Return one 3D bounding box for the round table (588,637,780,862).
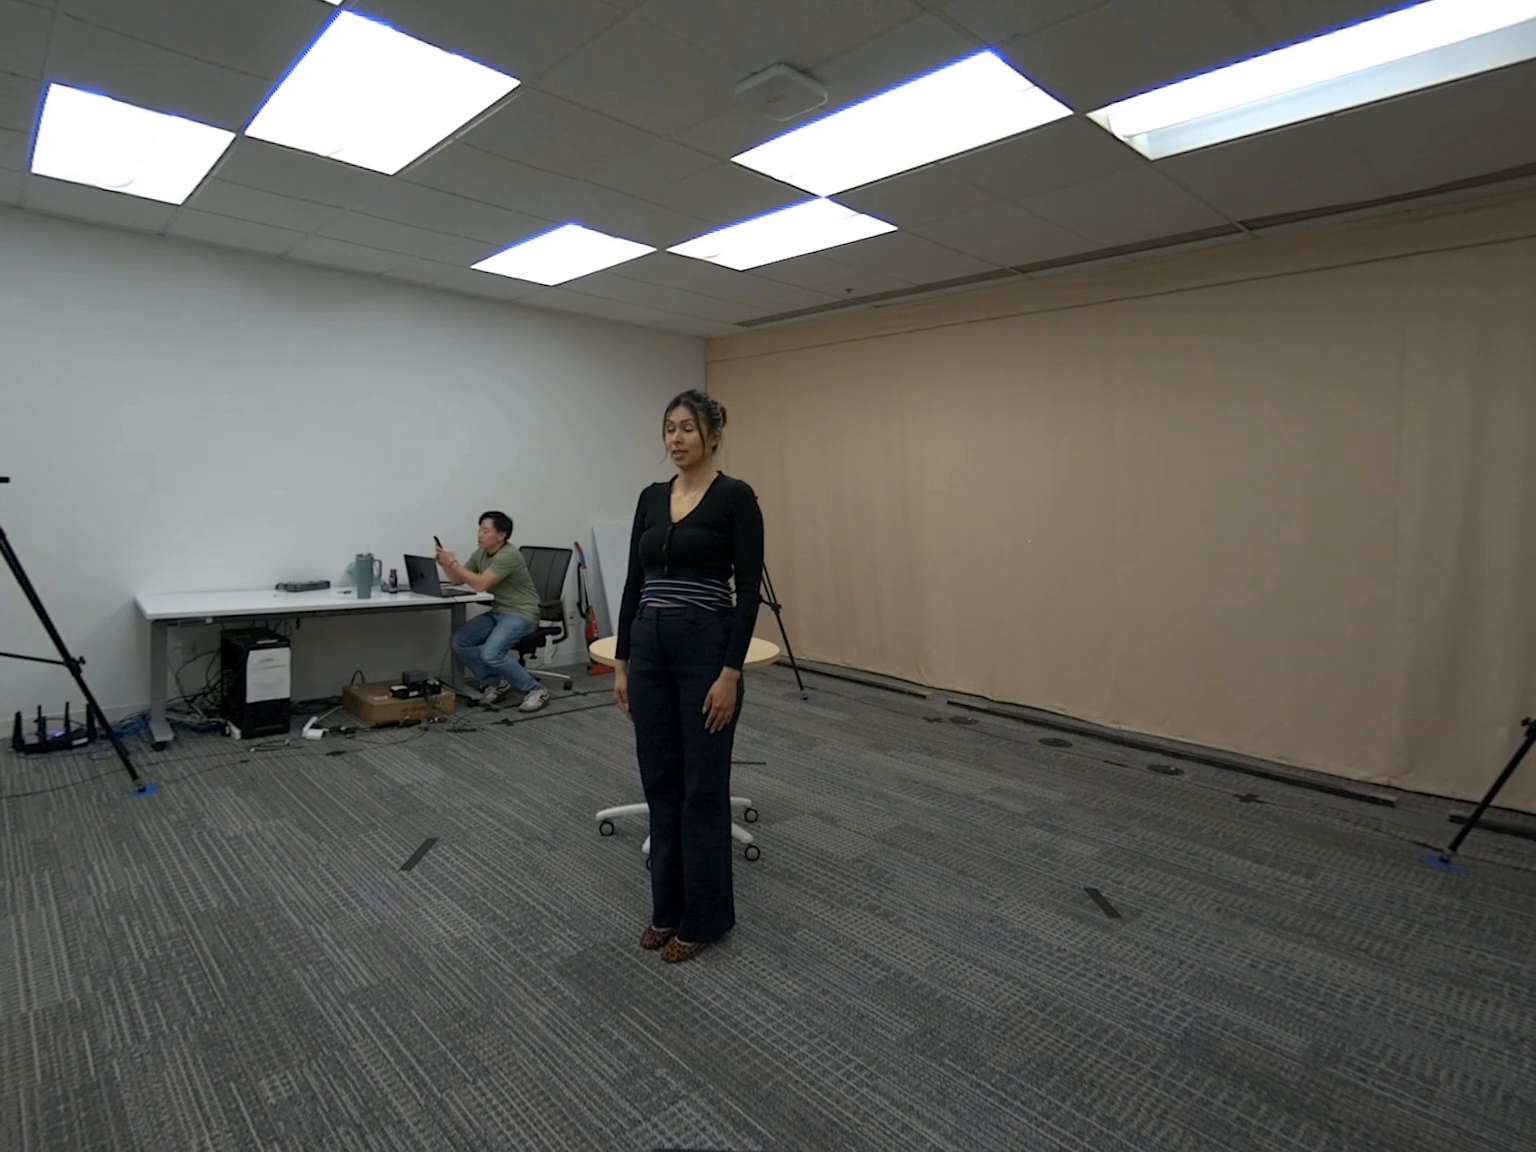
[{"bbox_3d":[-0.348,0.685,3.424,0.763,0.792,0.767,2,4,-1],"label":"round table"}]
